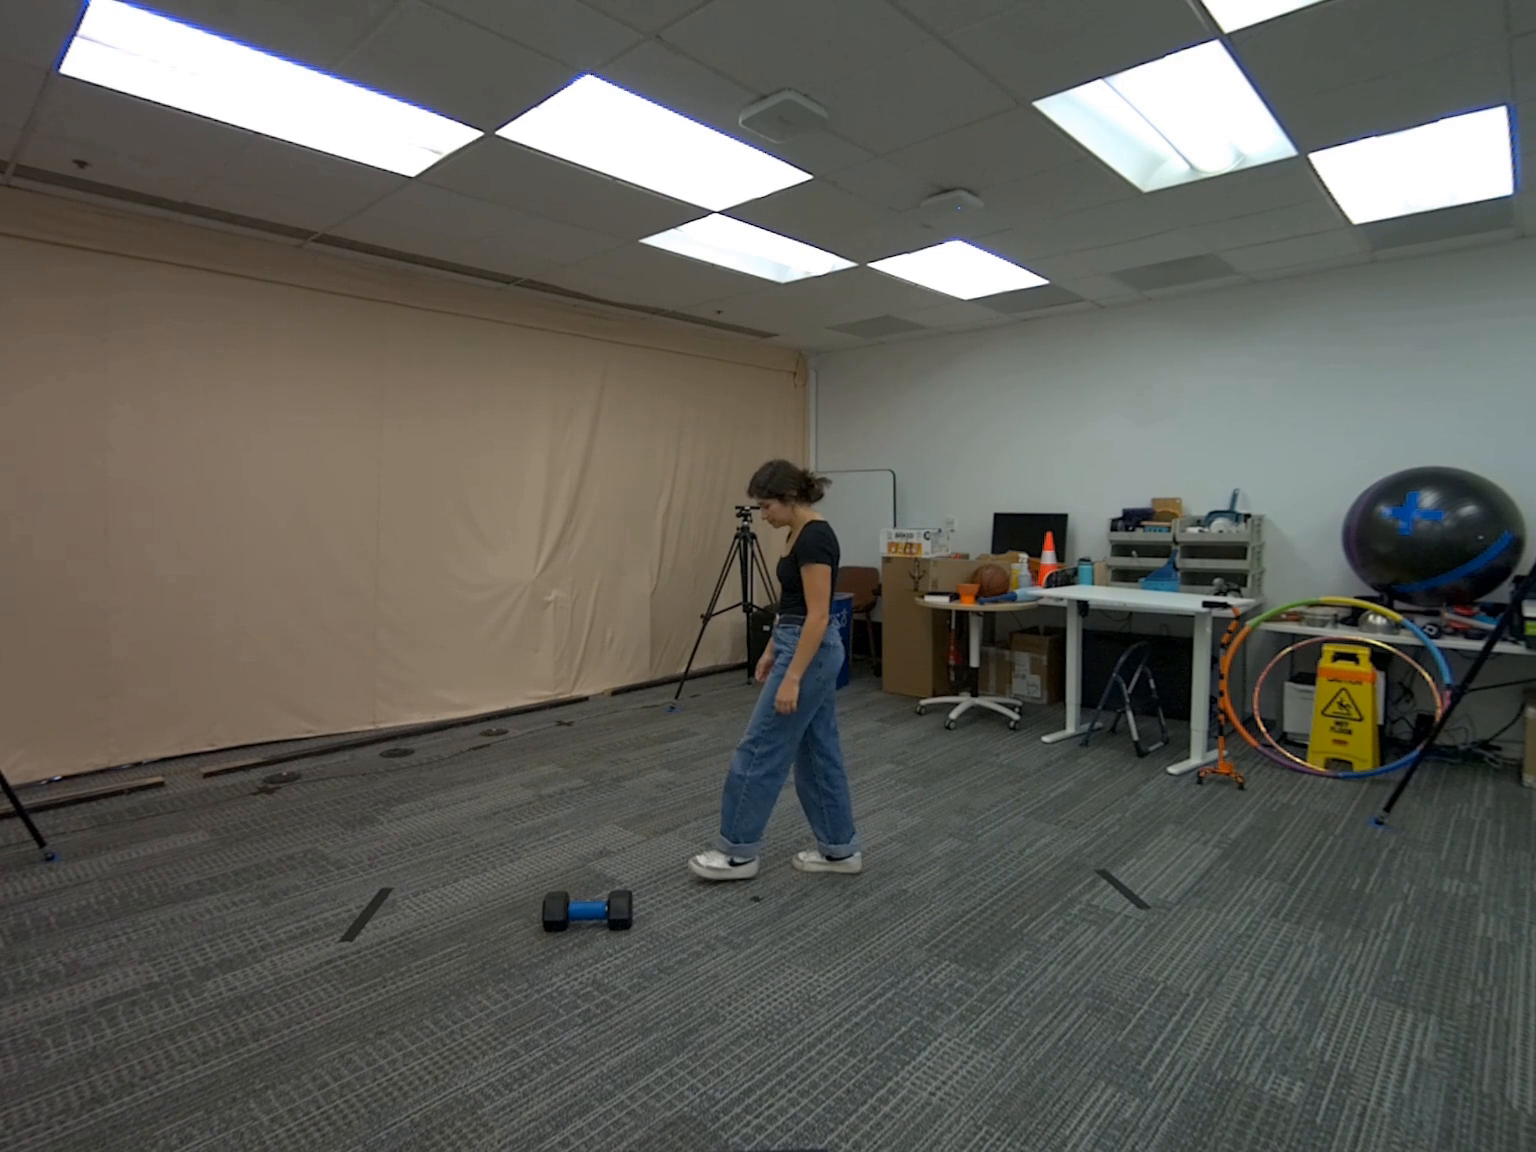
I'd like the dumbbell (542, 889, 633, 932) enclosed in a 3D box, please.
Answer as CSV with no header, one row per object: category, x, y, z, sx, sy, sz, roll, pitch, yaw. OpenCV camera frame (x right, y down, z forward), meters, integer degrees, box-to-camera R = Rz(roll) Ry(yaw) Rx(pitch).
dumbbell,-0.597,1.112,2.790,0.293,0.125,0.107,-1,-27,-3
